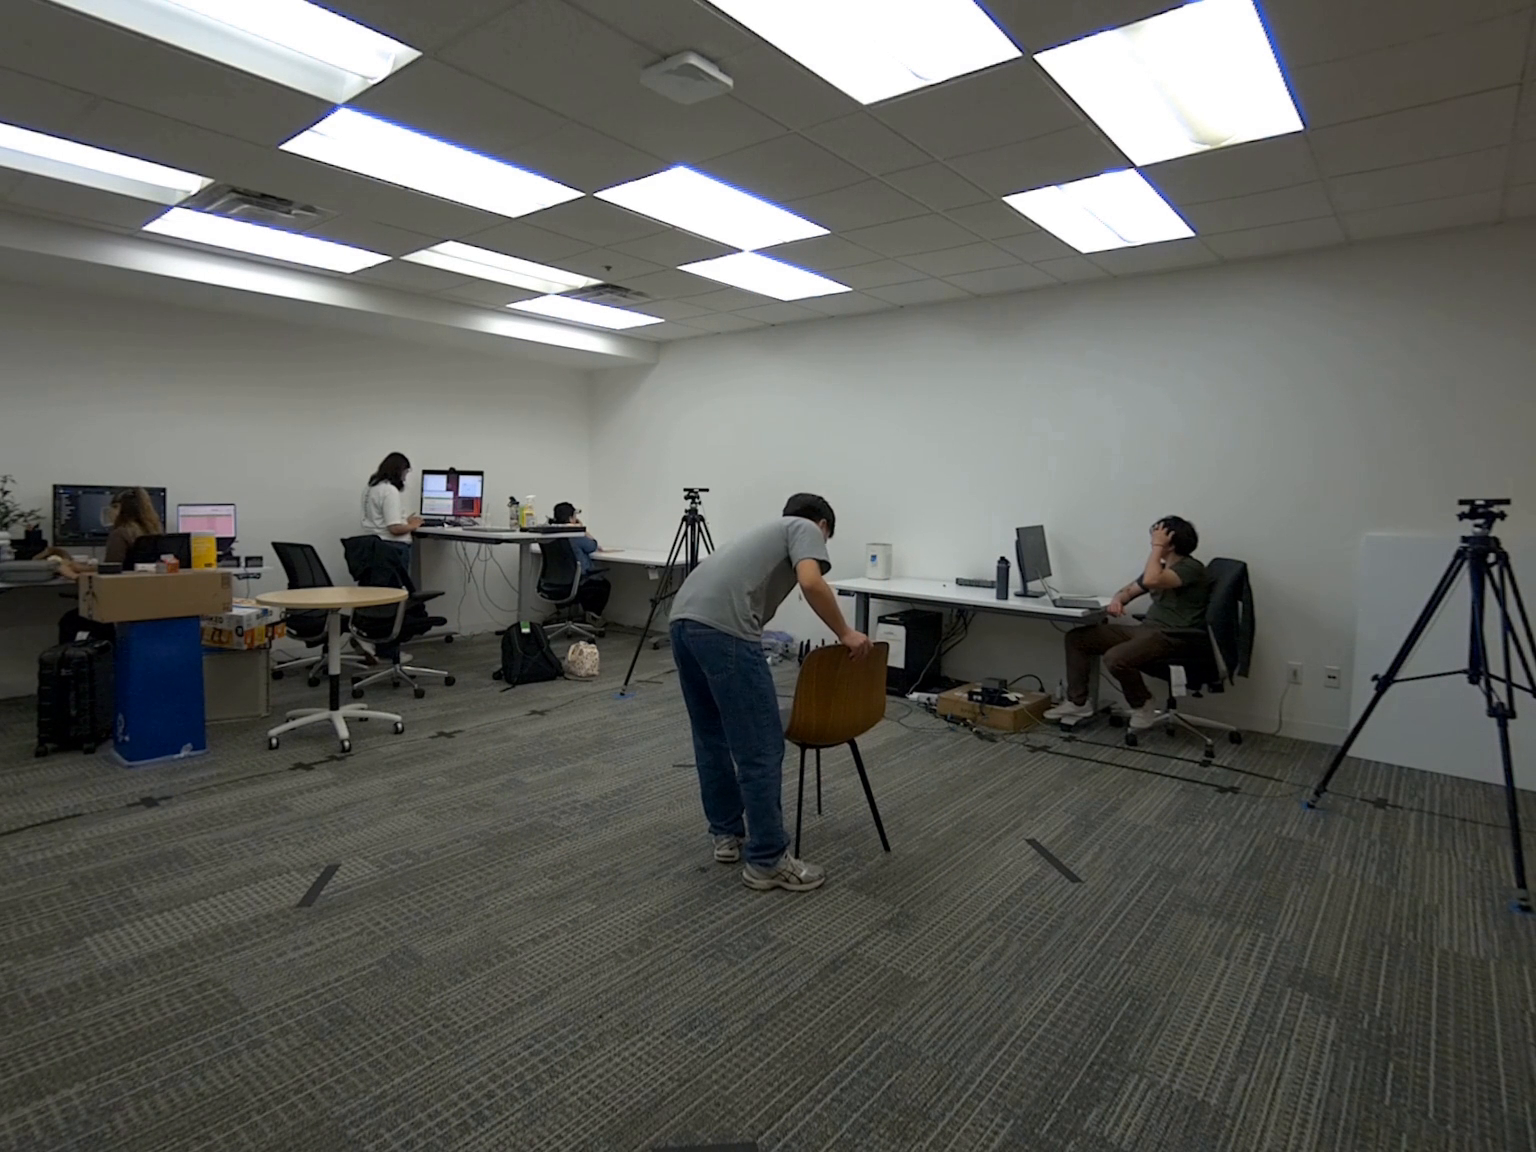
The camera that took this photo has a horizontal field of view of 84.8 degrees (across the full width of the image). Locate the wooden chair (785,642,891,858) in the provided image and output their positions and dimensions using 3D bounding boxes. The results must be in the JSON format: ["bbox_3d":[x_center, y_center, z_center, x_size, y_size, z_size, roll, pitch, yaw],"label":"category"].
[{"bbox_3d":[0.159,0.627,3.361,0.465,0.872,0.541,-1,8,-32],"label":"wooden chair"}]
